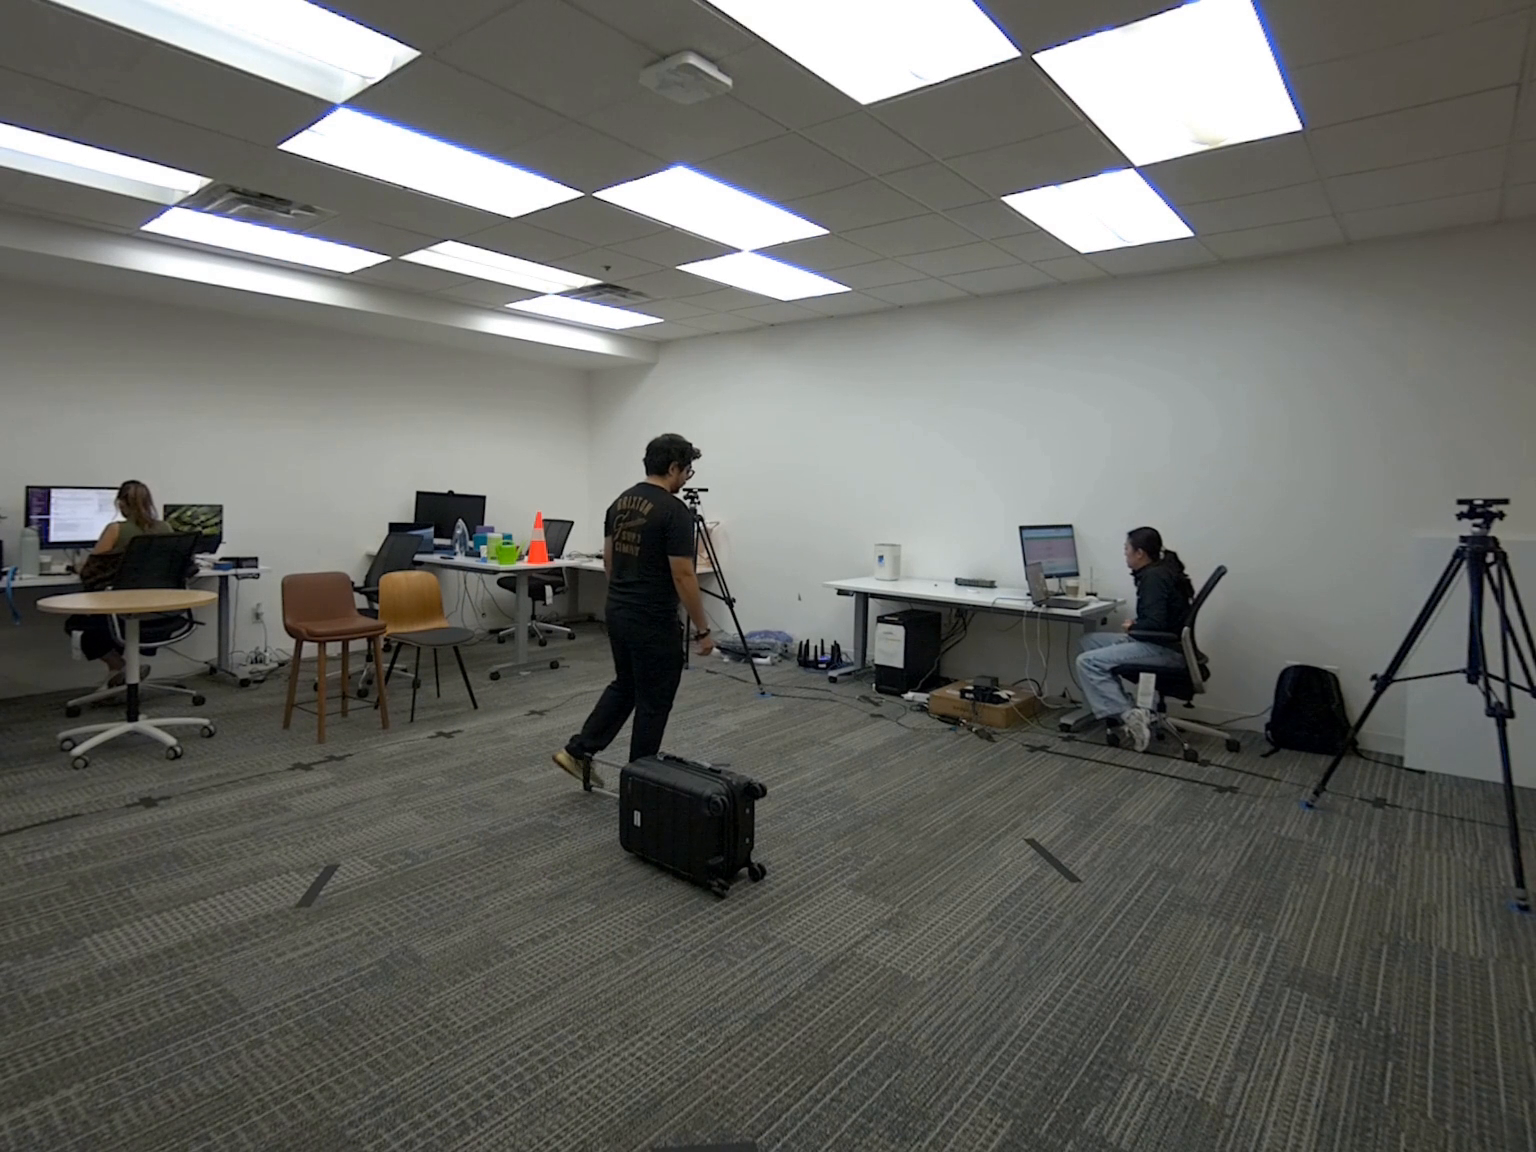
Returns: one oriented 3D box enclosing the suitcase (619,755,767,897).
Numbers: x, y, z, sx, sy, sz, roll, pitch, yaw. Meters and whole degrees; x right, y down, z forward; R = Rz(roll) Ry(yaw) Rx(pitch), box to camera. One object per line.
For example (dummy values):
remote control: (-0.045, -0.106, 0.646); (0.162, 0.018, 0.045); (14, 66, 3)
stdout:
suitcase: (-0.470, 0.868, 3.248); (1.011, 0.383, 0.249); (4, 4, 39)
